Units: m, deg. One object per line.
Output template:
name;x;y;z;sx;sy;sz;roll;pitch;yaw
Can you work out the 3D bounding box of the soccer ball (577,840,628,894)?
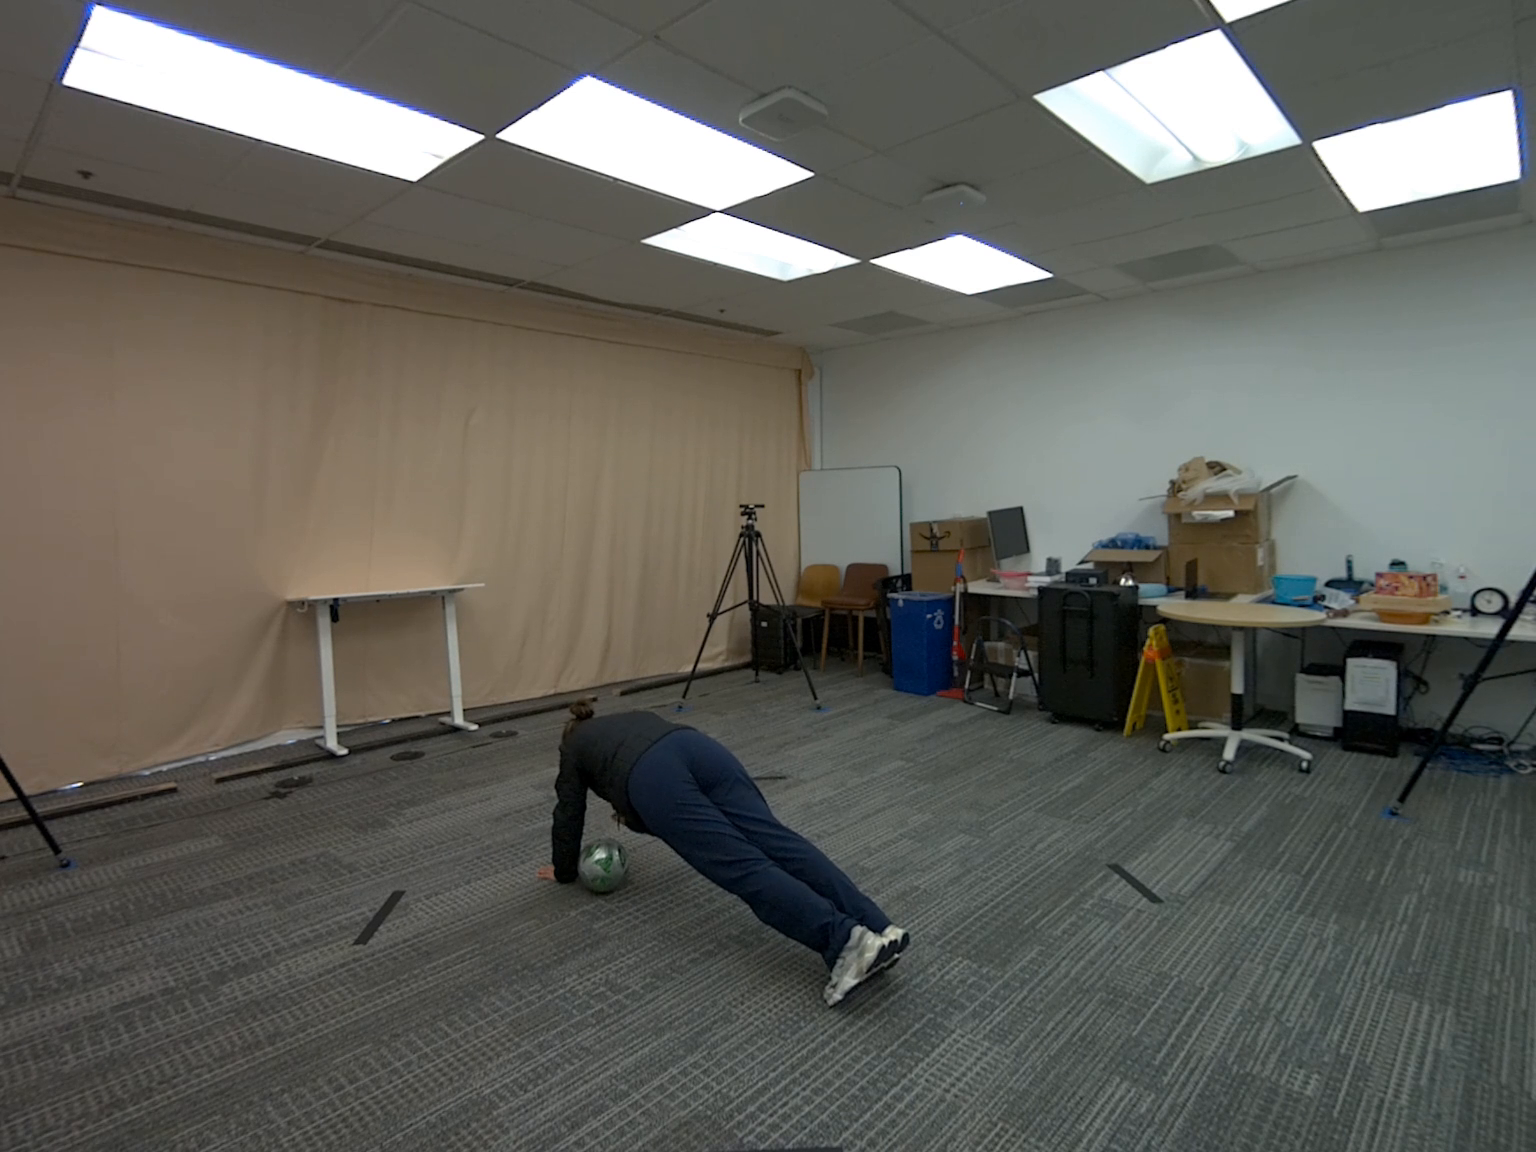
soccer ball;-0.602;1.058;3.062;0.187;0.187;0.188;-1;4;-2
